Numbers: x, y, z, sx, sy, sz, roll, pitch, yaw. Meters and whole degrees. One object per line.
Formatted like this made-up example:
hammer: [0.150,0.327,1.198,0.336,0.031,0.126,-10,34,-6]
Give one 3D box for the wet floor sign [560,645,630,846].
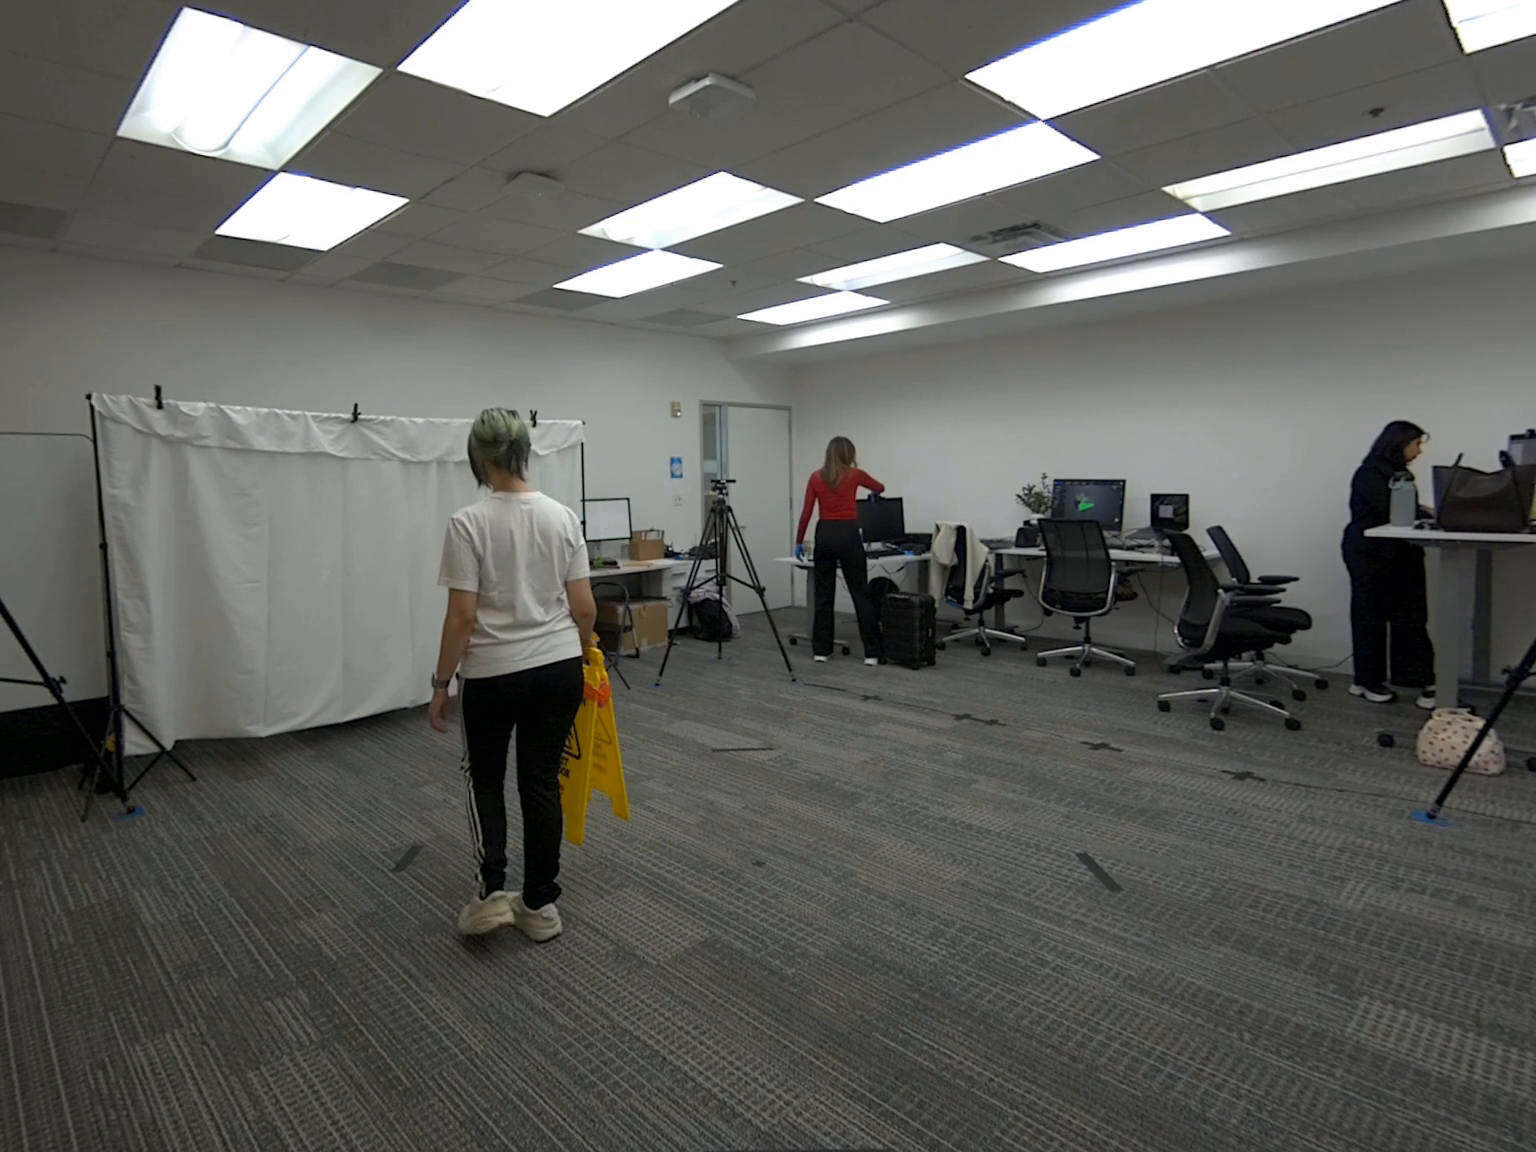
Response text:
wet floor sign: [-0.655,0.555,2.991,0.291,0.641,0.283,11,11,35]
